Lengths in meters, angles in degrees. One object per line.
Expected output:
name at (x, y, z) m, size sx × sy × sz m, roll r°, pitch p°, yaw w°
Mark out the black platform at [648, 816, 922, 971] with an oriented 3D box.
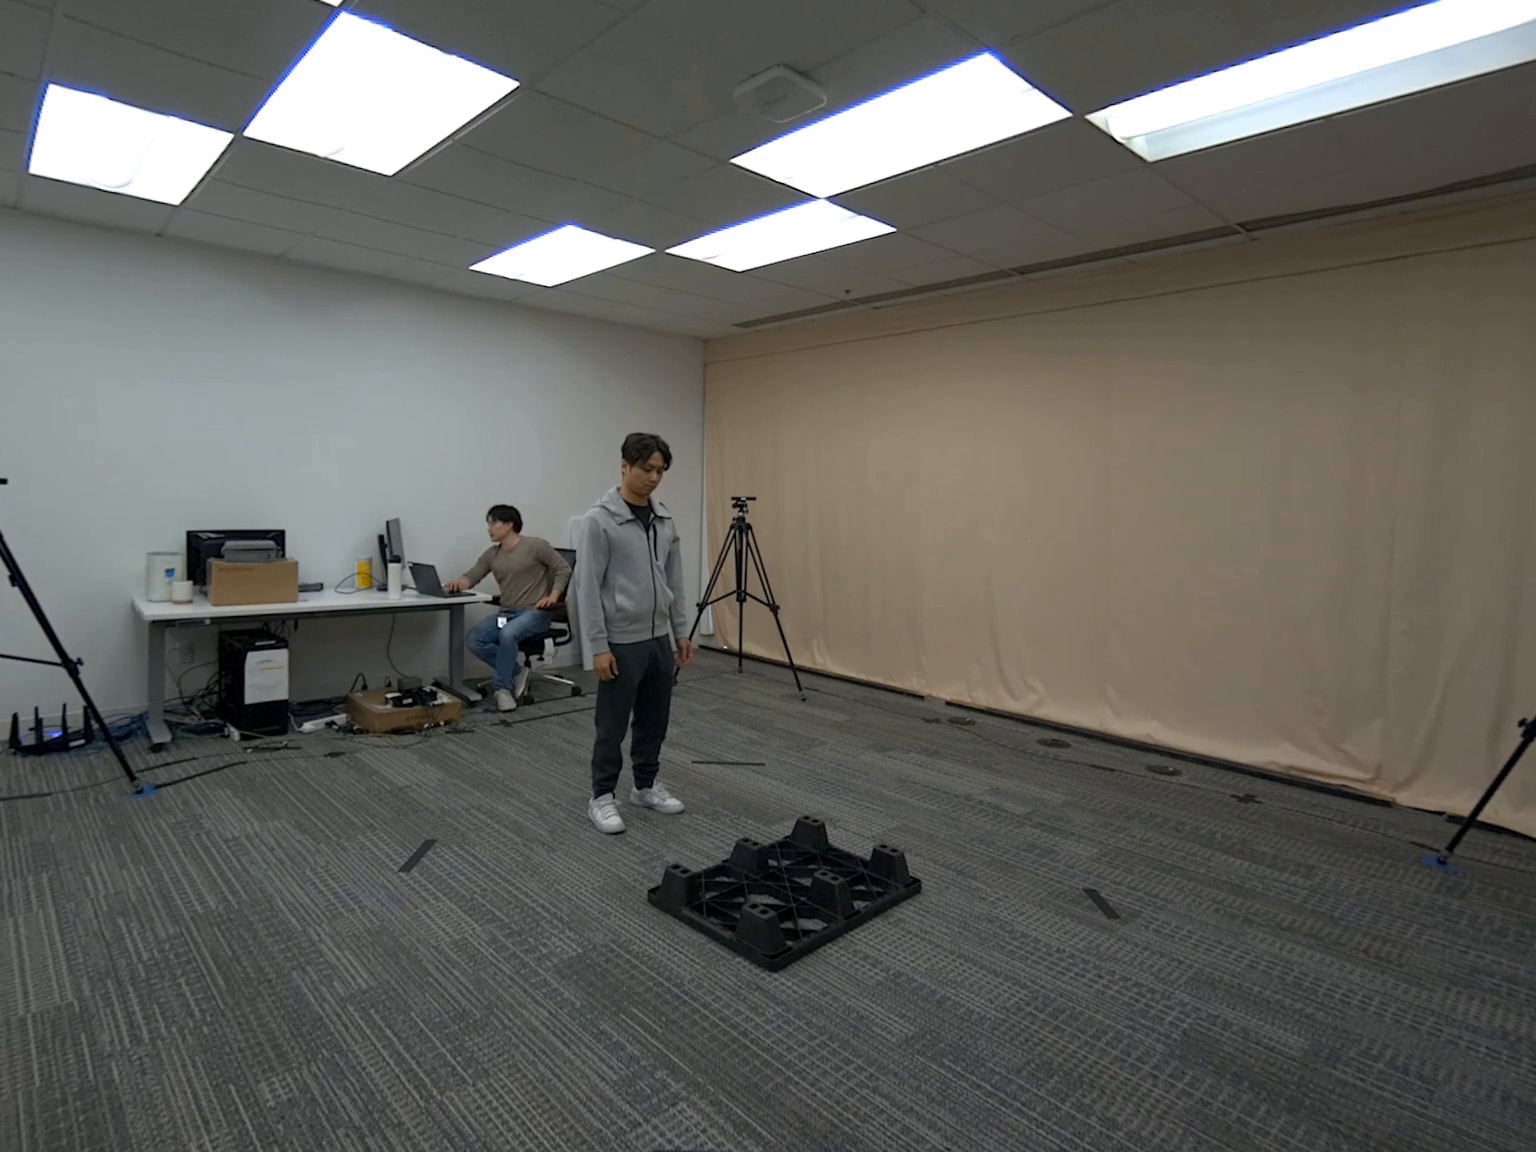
black platform at (0.062, 1.060, 2.945) m, size 0.621 × 0.143 × 0.787 m, roll 6°, pitch 7°, yaw 44°
